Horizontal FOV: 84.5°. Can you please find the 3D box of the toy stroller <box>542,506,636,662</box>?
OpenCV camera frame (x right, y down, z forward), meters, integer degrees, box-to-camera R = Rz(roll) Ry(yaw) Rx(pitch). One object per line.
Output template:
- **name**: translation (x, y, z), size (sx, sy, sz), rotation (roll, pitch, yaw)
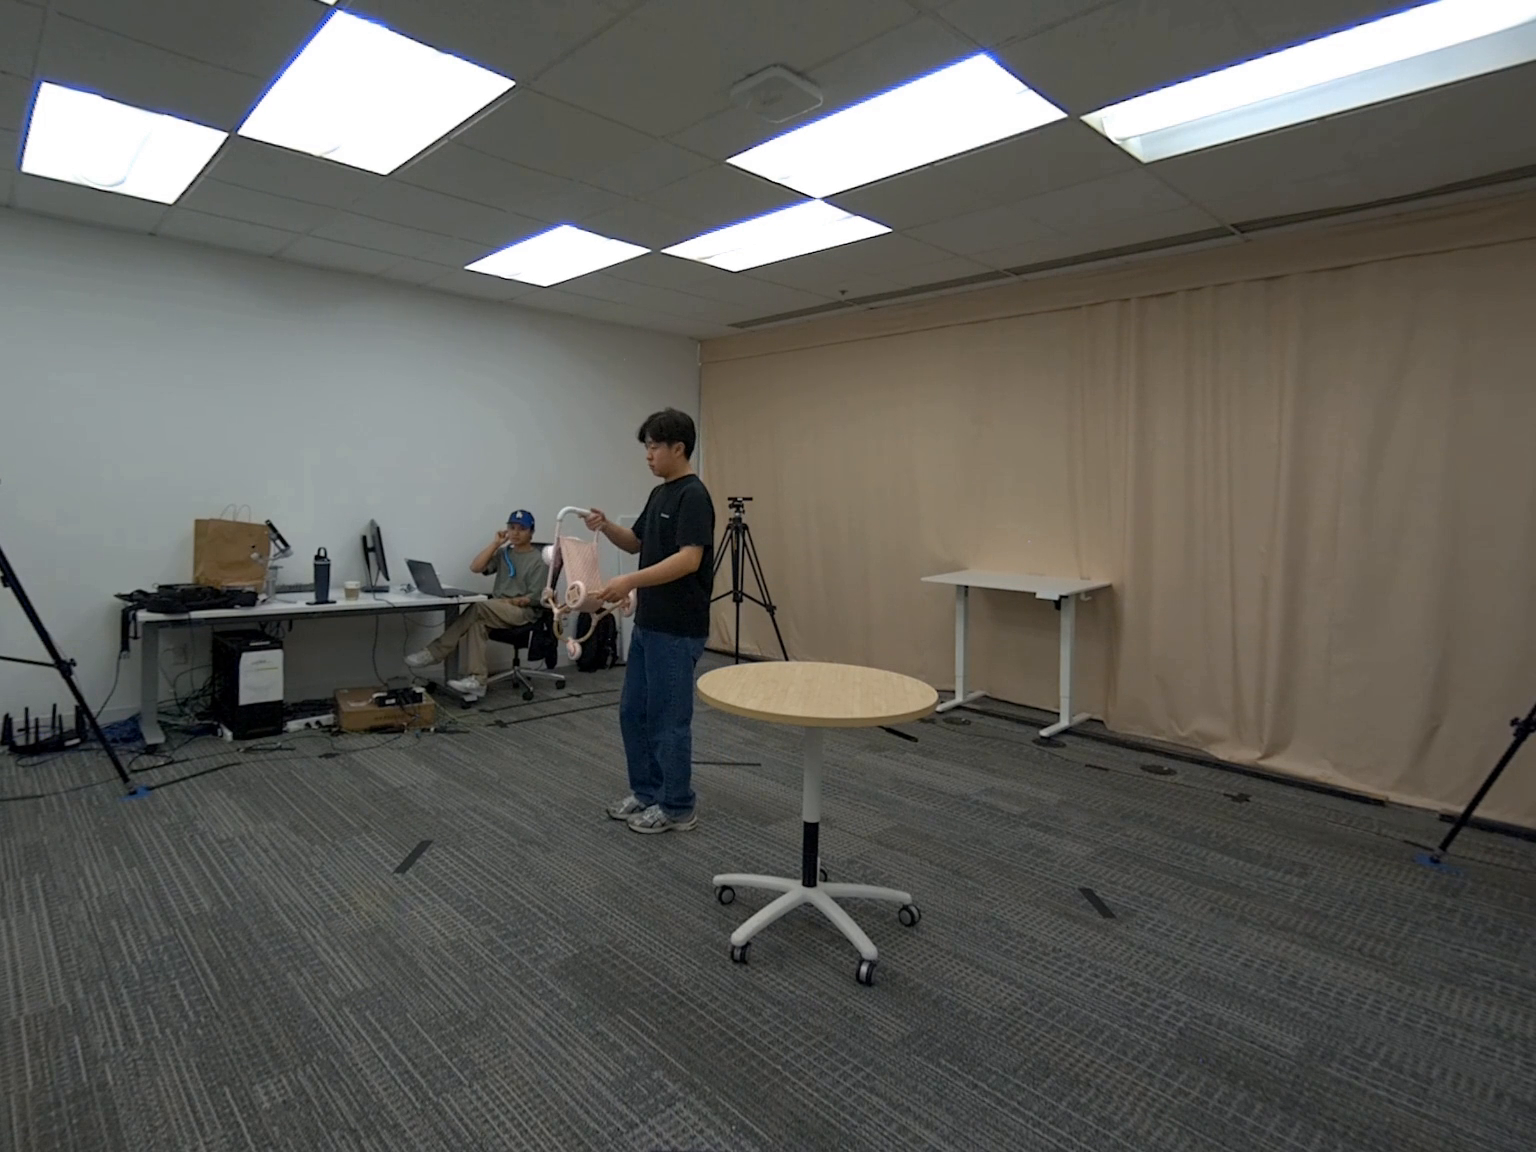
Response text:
- **toy stroller**: translation (-0.767, 0.038, 3.378), size (0.274, 0.549, 0.341), rotation (9, -45, -44)
